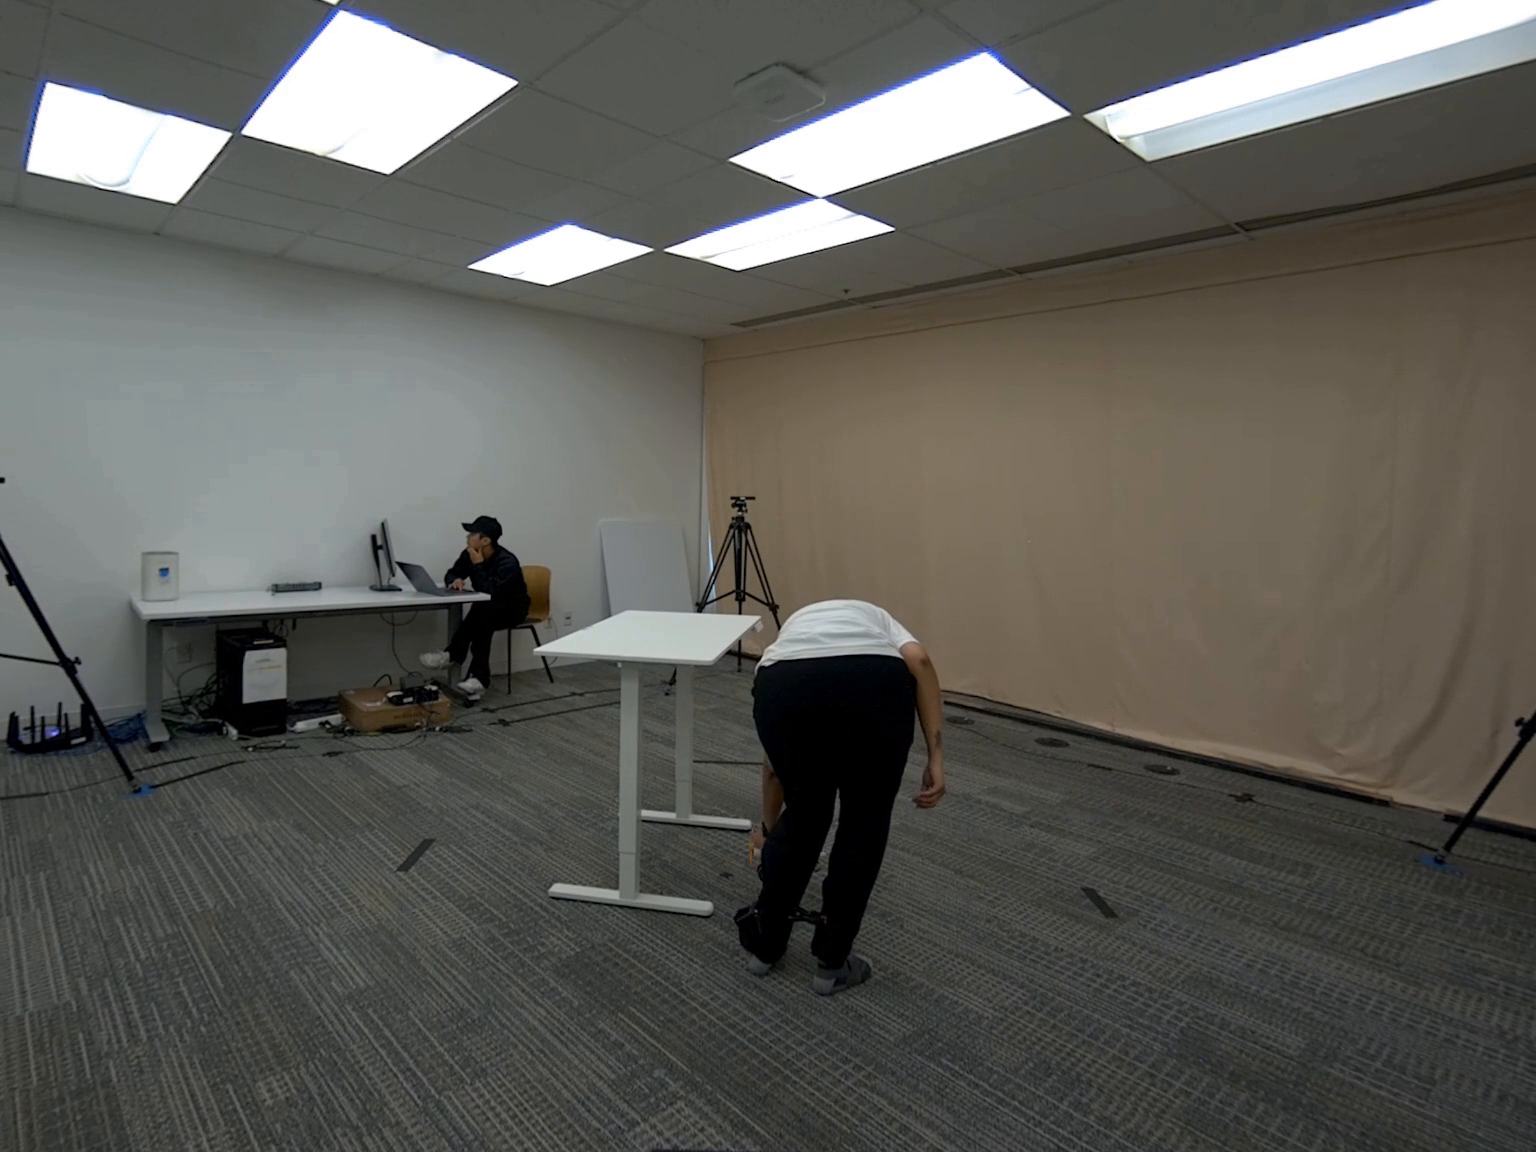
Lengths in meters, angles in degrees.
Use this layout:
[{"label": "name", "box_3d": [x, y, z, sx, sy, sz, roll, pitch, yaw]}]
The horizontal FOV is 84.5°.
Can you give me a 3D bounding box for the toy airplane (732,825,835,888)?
[{"label": "toy airplane", "box_3d": [0.064, 0.962, 2.931, 0.254, 0.158, 0.254, -5, -11, -33]}]
